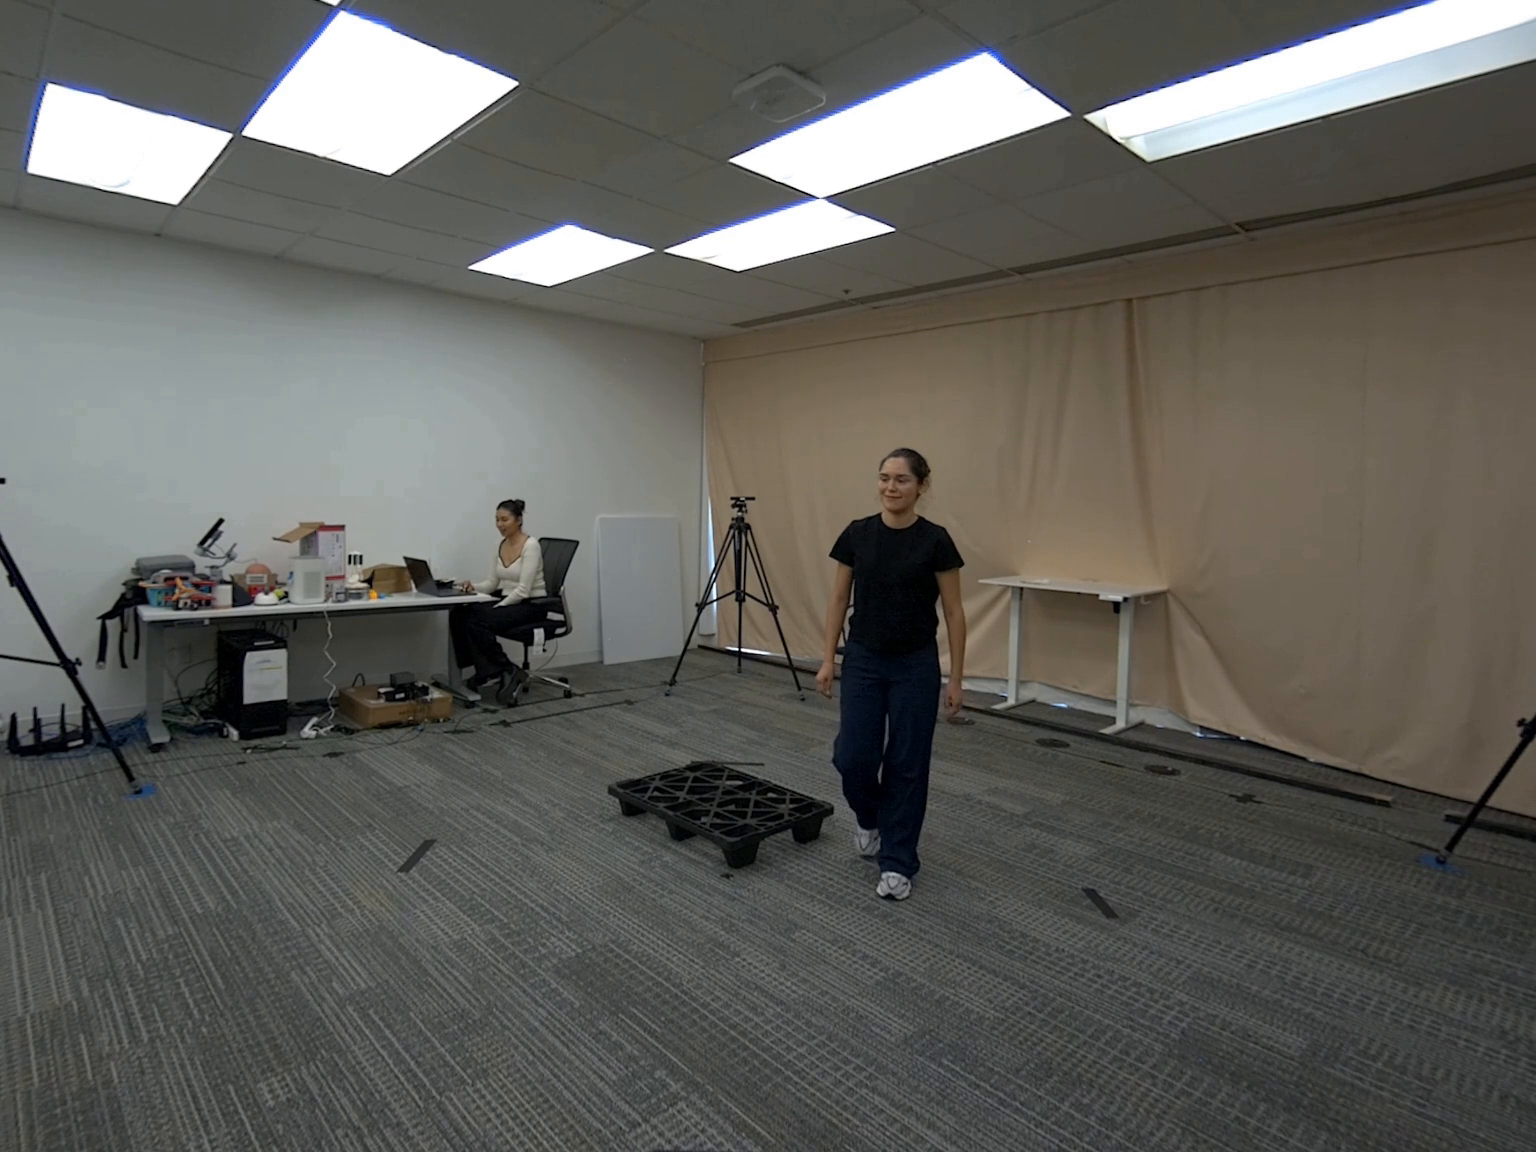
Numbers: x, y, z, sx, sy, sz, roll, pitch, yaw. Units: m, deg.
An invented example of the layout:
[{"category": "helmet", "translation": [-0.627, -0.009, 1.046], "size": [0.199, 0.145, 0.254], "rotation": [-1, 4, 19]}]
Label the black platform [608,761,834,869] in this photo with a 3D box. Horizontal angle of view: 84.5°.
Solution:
[{"category": "black platform", "translation": [-0.223, 1.001, 3.564], "size": [0.591, 0.143, 0.826], "rotation": [-4, 7, -44]}]
